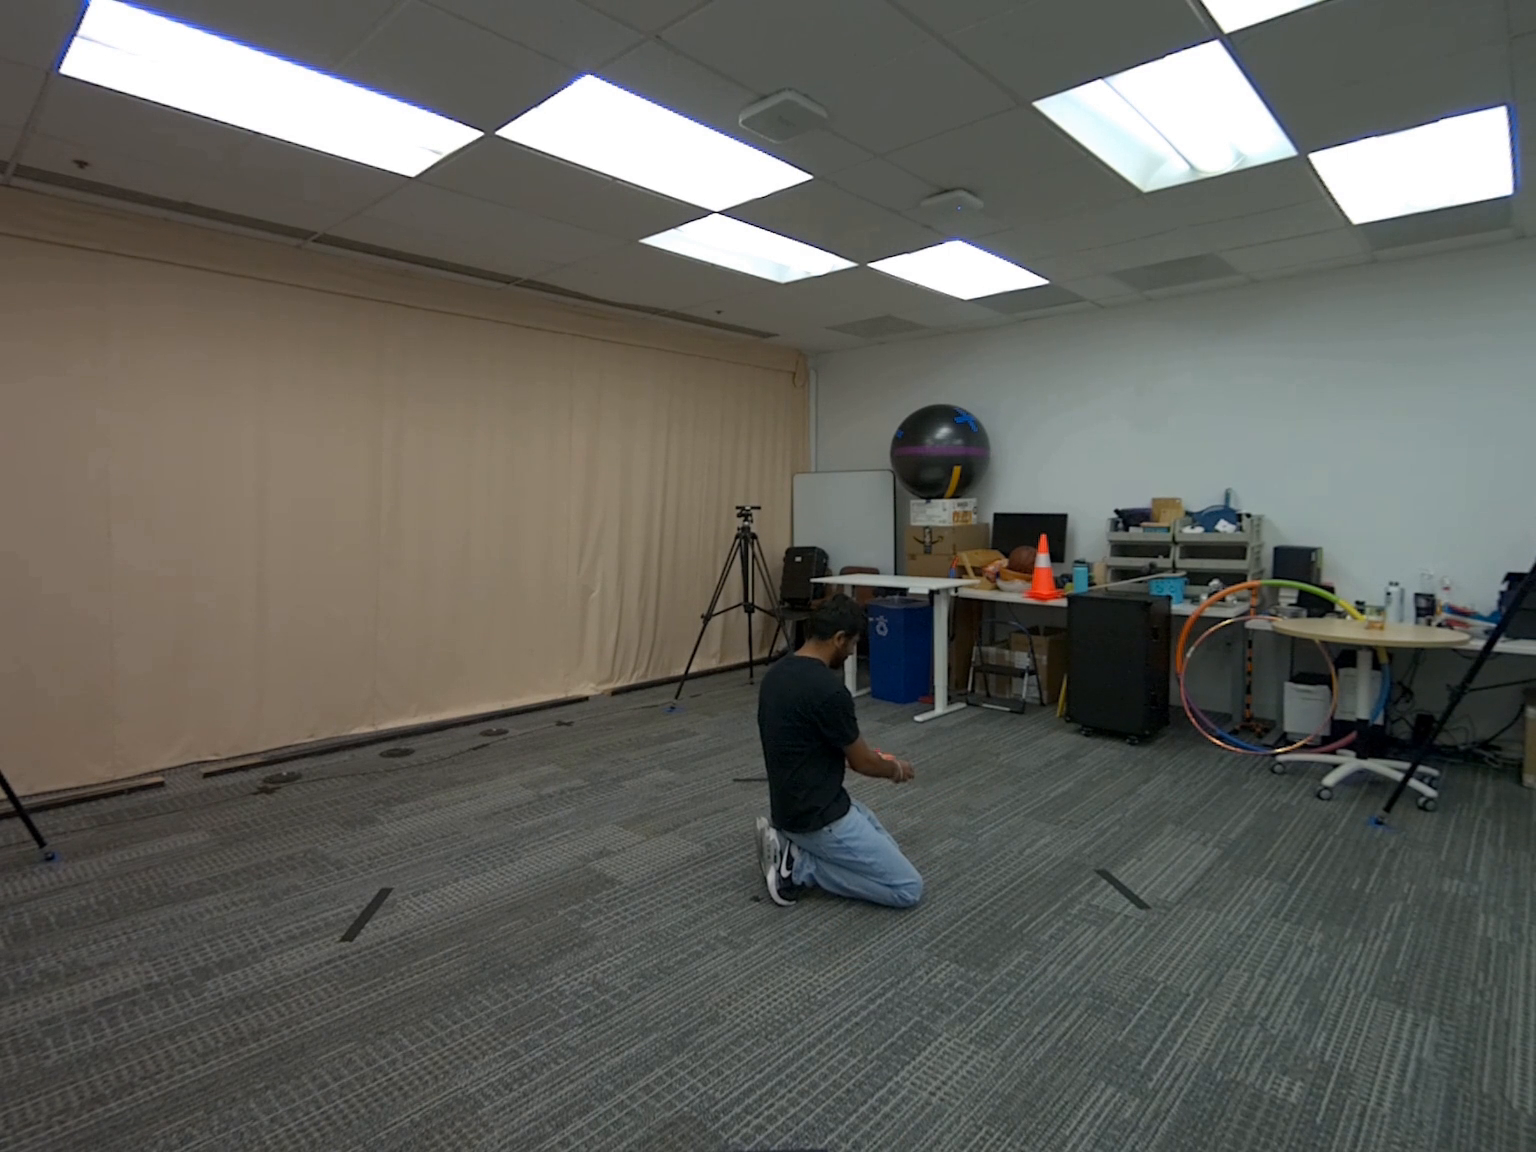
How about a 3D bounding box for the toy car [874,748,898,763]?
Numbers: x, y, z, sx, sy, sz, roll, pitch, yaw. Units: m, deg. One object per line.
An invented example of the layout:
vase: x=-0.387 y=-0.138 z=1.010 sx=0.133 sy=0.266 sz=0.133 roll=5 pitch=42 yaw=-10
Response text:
toy car: x=0.487 y=0.775 z=3.424 sx=0.127 sy=0.083 sz=0.262 roll=-1 pitch=11 yaw=-28
